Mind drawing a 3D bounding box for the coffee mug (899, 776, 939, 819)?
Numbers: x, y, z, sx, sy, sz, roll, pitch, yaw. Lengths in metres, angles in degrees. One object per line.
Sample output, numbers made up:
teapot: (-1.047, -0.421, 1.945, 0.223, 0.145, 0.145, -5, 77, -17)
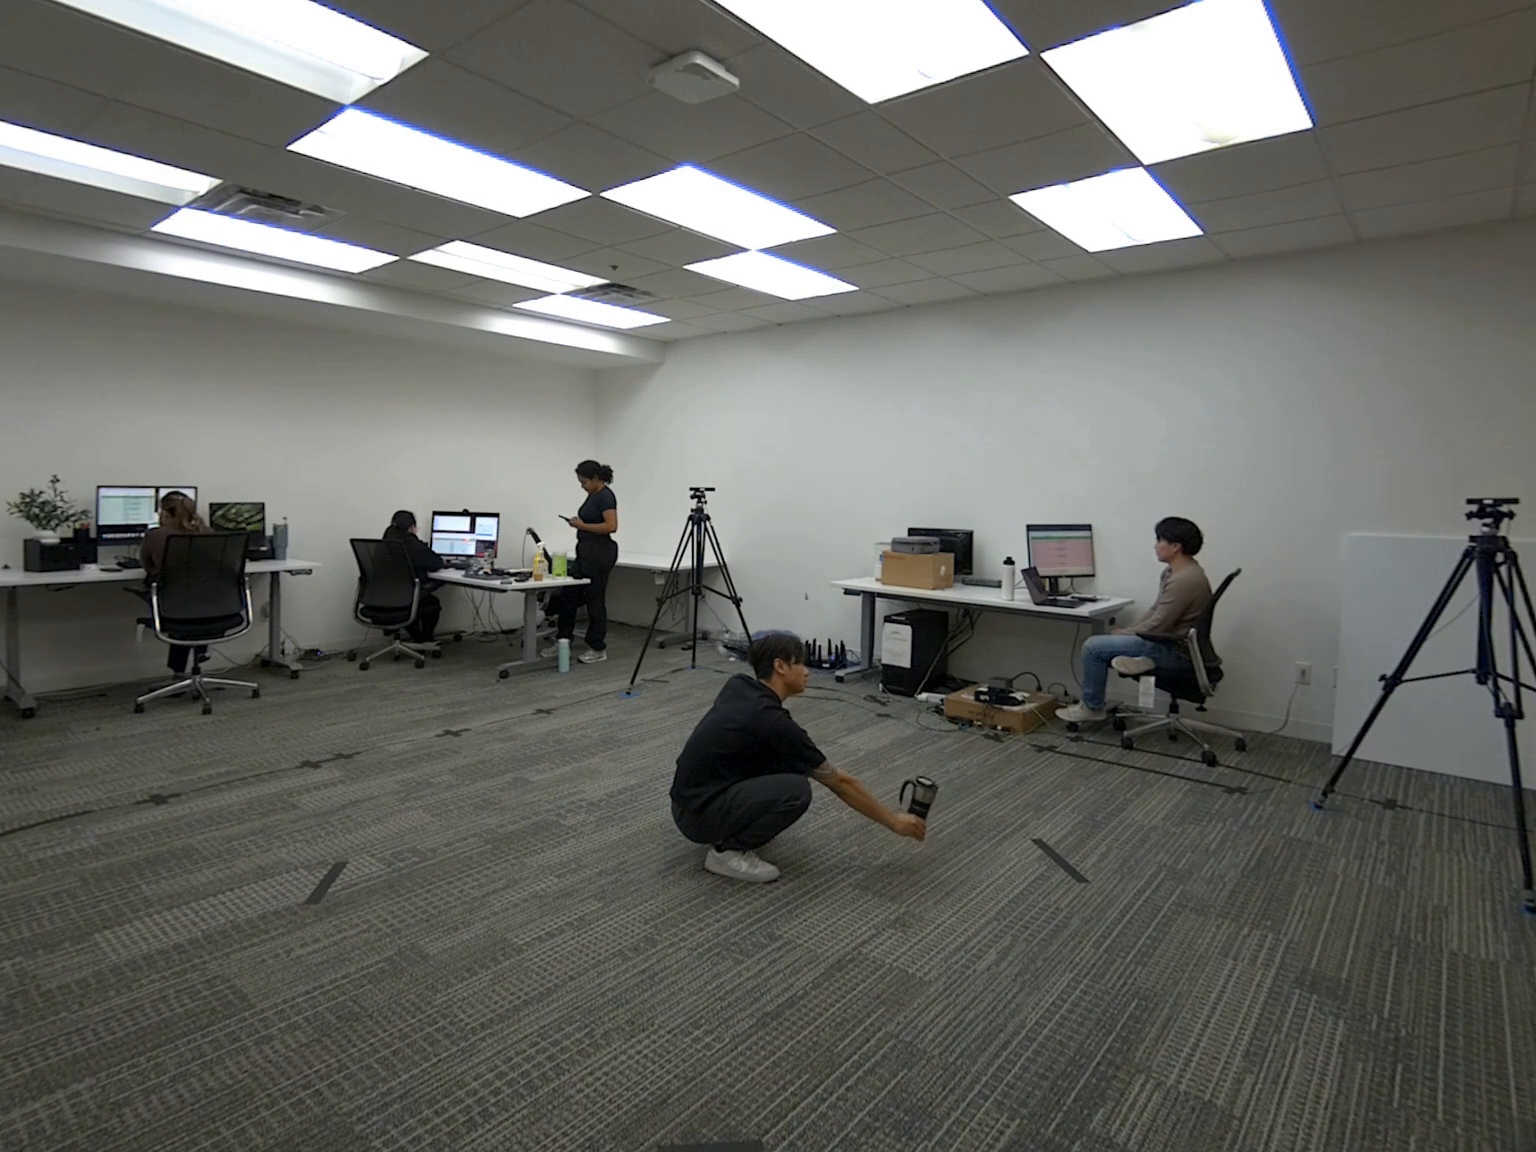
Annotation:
coffee mug: (0.542, 0.843, 3.155, 0.124, 0.202, 0.086, 20, 6, 16)
